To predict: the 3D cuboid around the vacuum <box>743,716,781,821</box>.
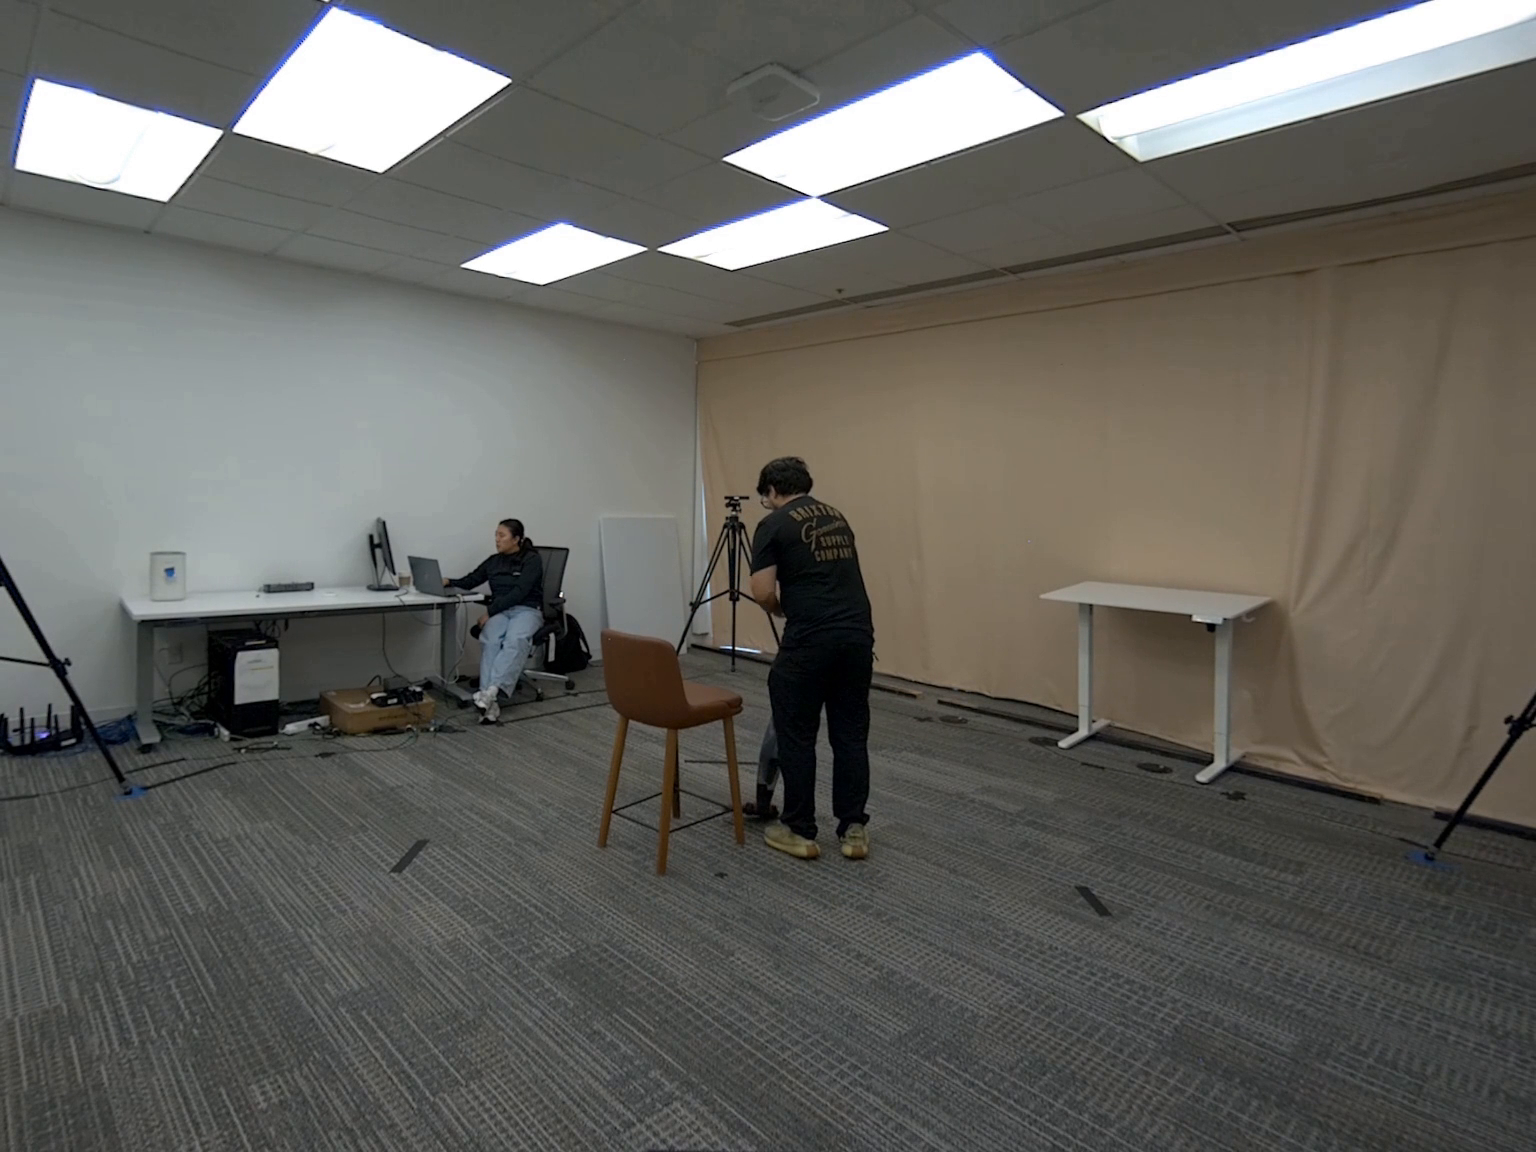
[{"bbox_3d":[0.056,0.535,3.601,0.249,1.048,0.146,12,3,-15],"label":"vacuum"}]
